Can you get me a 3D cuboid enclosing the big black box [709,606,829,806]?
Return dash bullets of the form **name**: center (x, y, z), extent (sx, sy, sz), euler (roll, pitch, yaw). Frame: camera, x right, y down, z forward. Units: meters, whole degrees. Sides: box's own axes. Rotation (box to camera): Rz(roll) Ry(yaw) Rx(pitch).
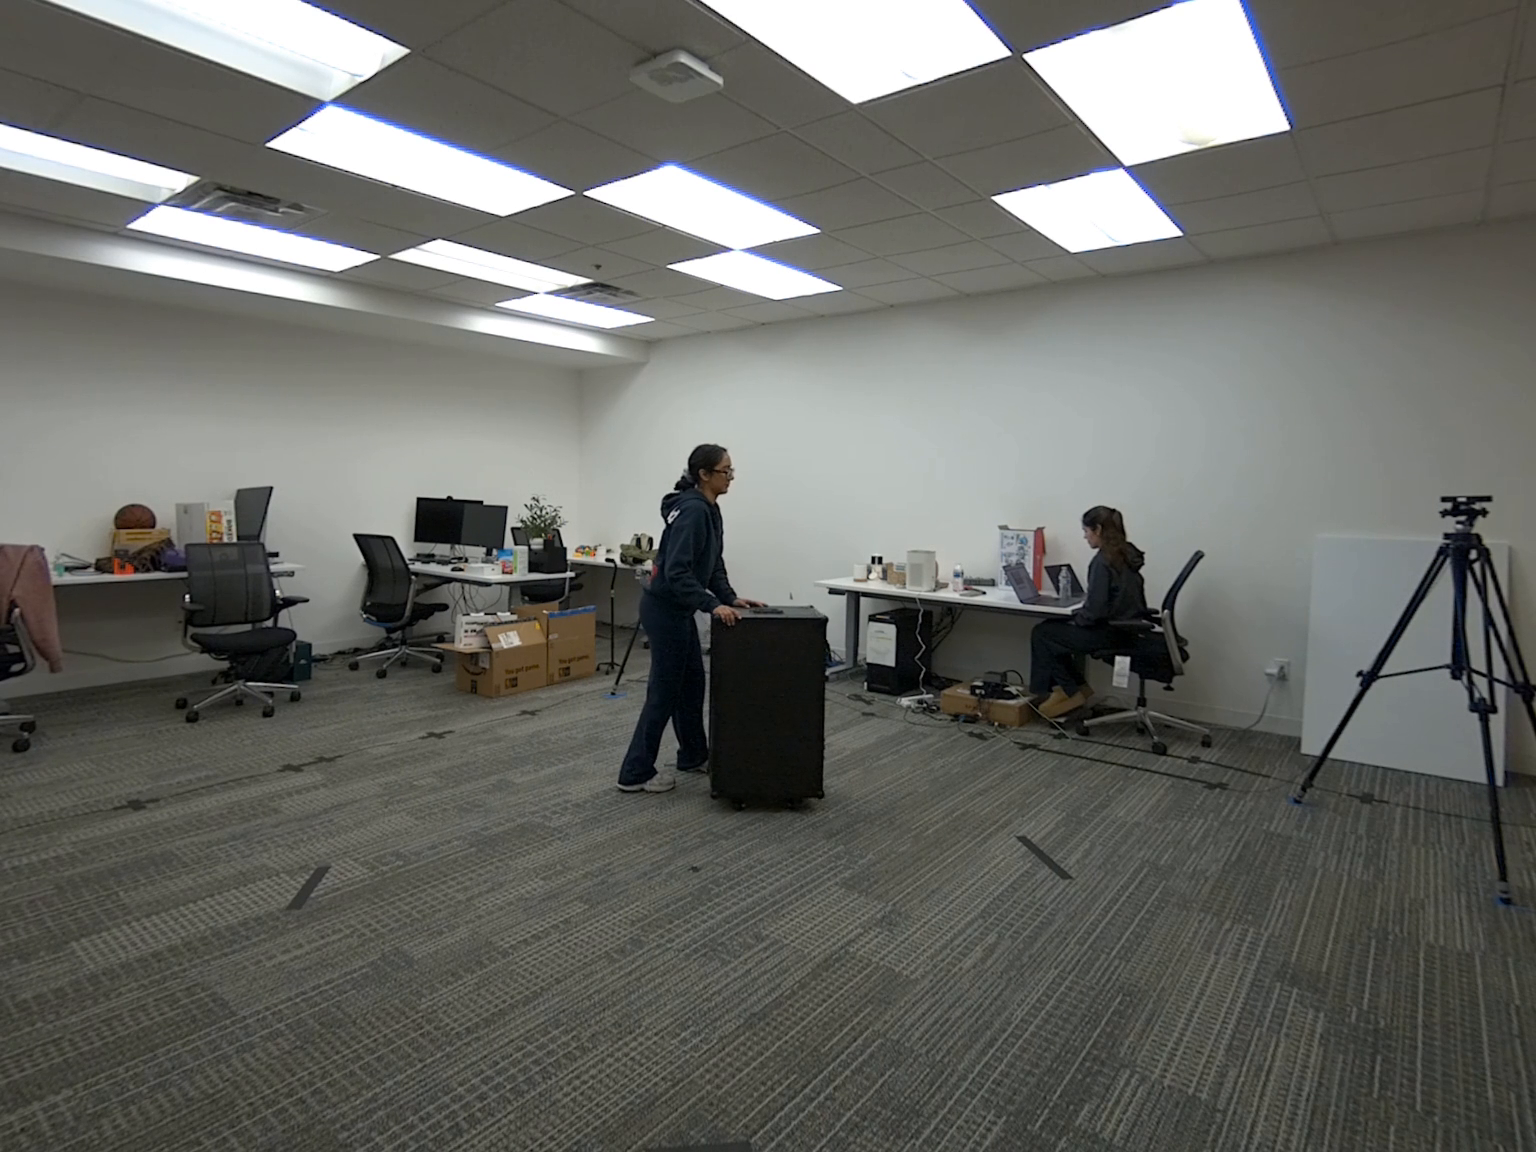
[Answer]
- **big black box**: center (-0.027, 0.573, 3.798), extent (0.519, 0.858, 0.399), euler (0, 4, -4)
